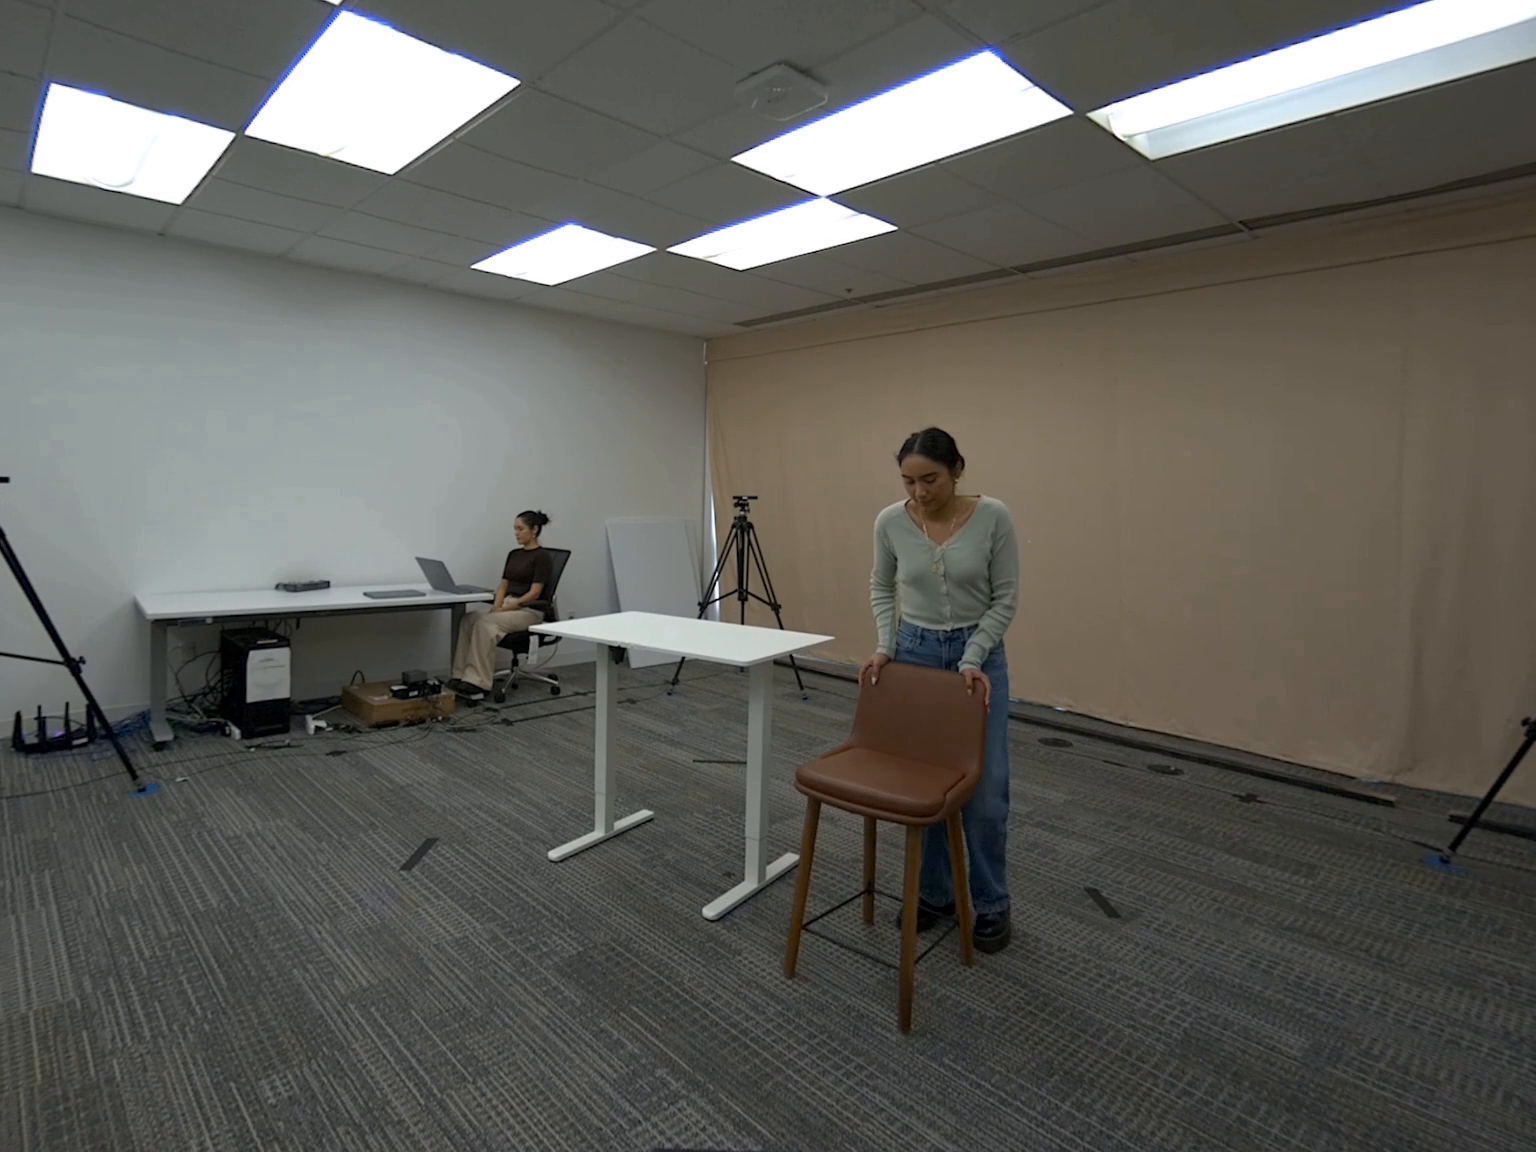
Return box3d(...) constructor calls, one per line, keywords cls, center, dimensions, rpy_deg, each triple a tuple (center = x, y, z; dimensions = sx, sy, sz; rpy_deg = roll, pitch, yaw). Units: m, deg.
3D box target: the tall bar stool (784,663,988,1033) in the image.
box3d(cls="tall bar stool", center=(0.351, 0.735, 2.467), dimensions=(0.468, 0.888, 0.456), rpy_deg=(5, 3, 39))
